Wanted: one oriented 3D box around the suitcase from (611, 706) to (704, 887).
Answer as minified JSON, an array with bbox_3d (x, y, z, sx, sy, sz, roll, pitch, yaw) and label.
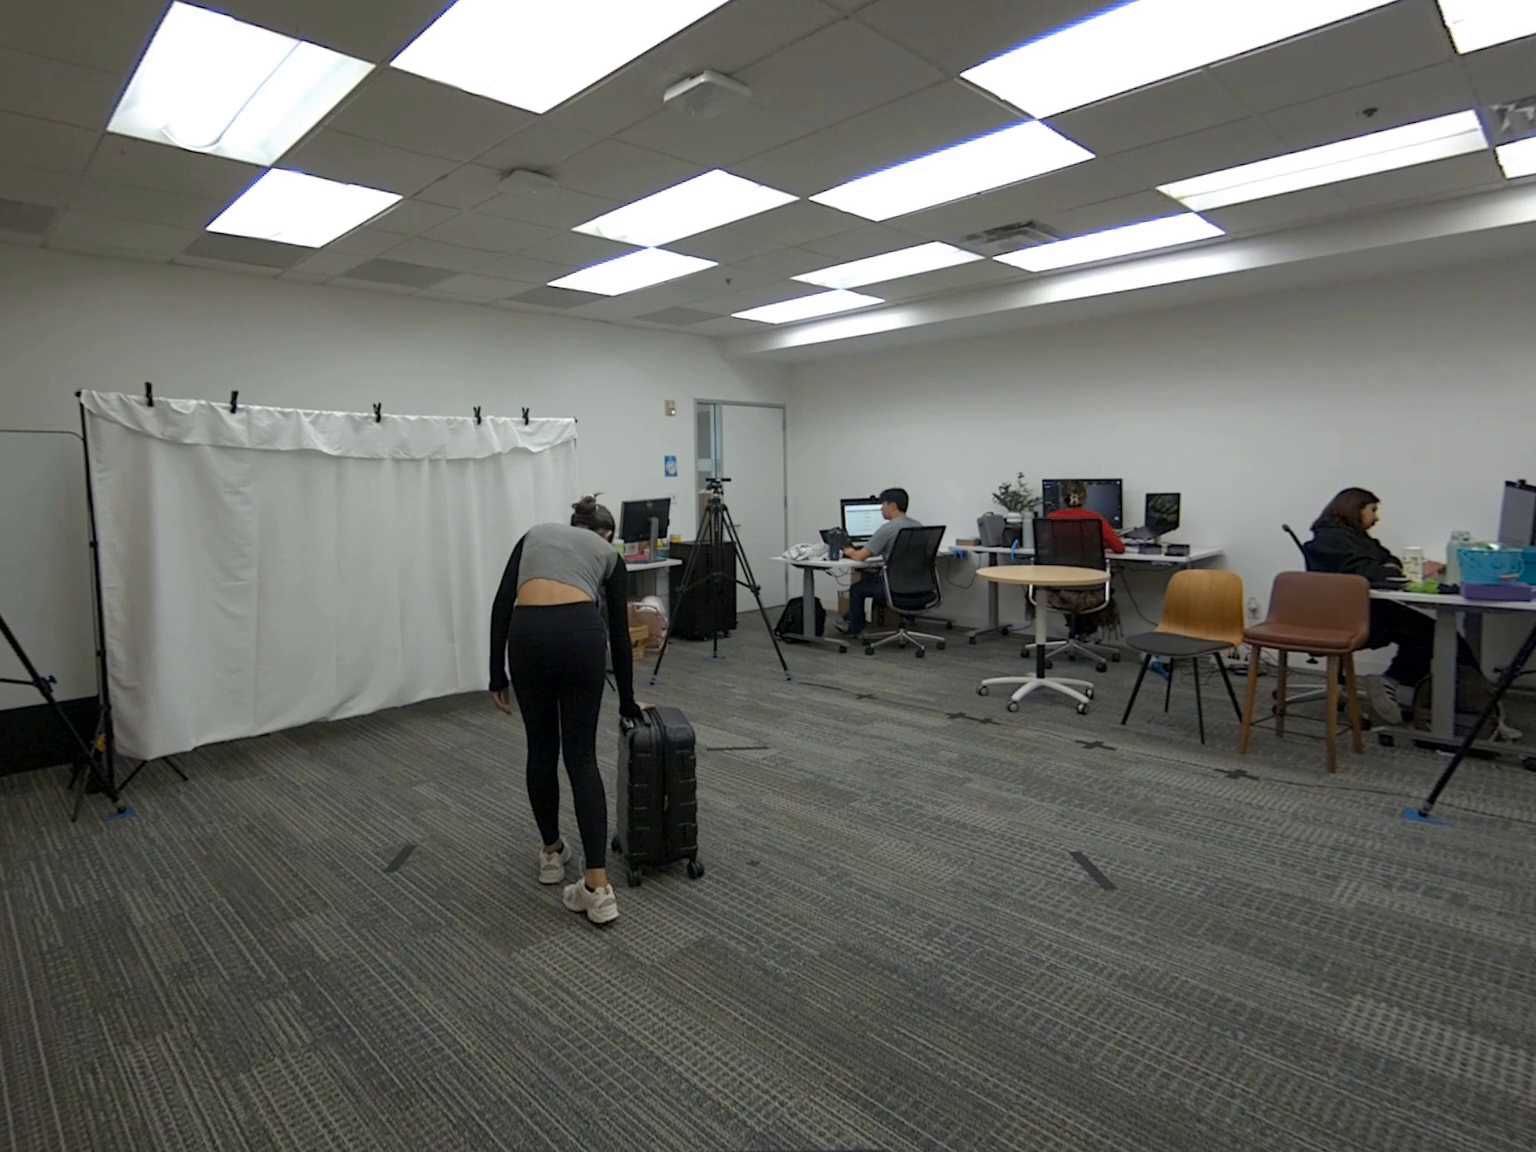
[{"bbox_3d":[-0.403,0.768,3.129,0.244,0.548,0.382,-1,3,-17],"label":"suitcase"}]
